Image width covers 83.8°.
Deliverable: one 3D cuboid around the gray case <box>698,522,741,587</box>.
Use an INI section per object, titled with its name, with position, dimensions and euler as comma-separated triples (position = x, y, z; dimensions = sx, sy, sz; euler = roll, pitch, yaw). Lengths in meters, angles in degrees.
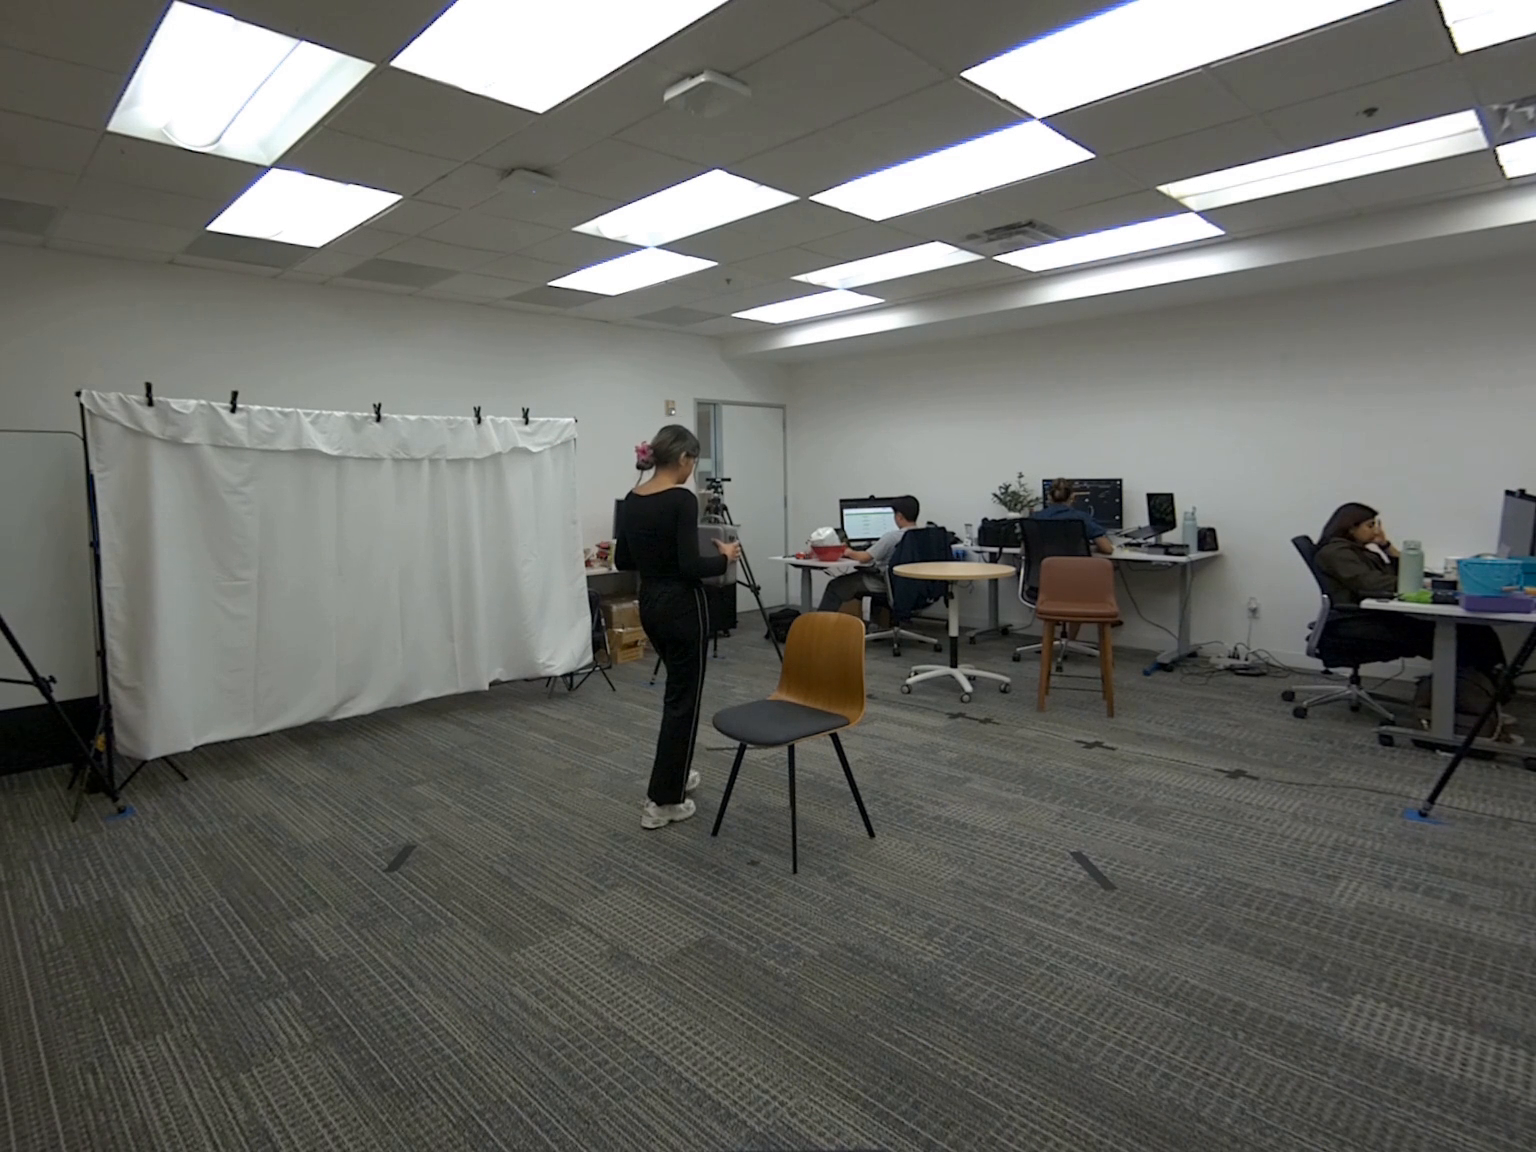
[gray case]
position = -0.245, -0.097, 3.658
dimensions = 0.101, 0.260, 0.265
euler = 1, 2, -39
